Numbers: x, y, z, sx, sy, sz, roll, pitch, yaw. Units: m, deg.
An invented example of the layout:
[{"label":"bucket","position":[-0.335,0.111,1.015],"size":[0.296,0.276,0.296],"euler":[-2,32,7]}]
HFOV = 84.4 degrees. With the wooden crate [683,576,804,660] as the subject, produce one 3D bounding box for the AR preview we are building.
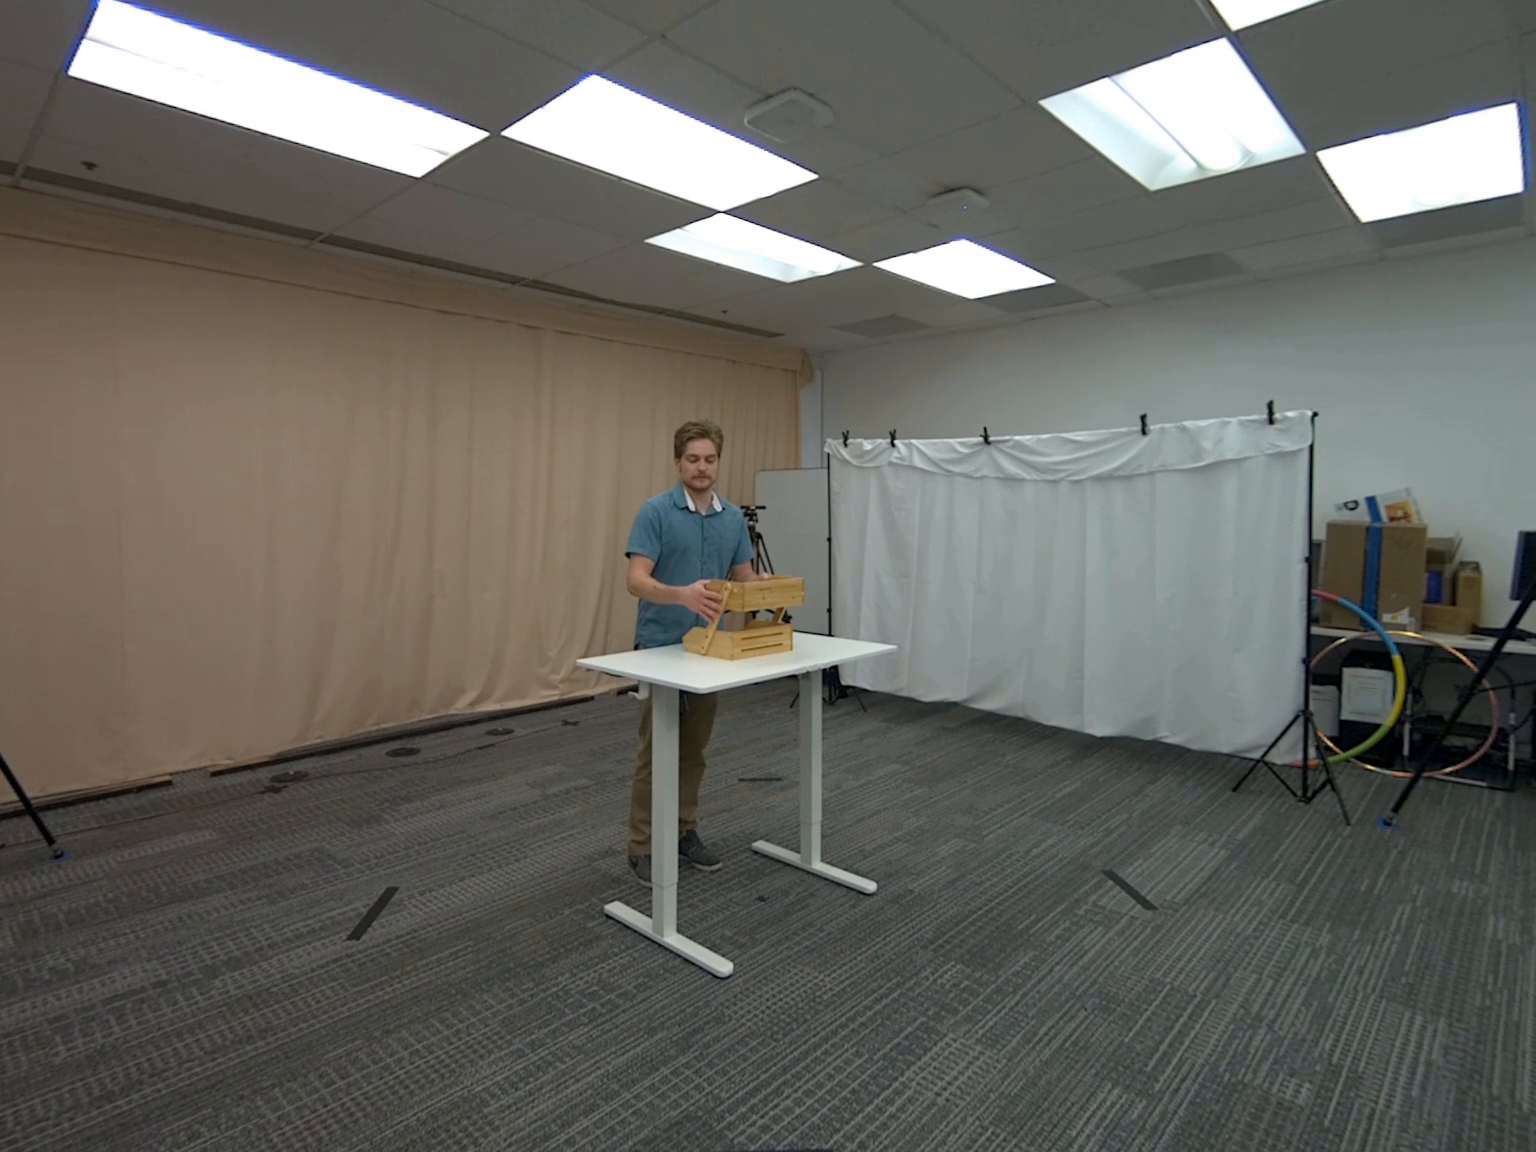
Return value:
[{"label":"wooden crate","position":[-0.086,0.134,2.938],"size":[0.314,0.272,0.312],"euler":[-4,6,-45]}]
